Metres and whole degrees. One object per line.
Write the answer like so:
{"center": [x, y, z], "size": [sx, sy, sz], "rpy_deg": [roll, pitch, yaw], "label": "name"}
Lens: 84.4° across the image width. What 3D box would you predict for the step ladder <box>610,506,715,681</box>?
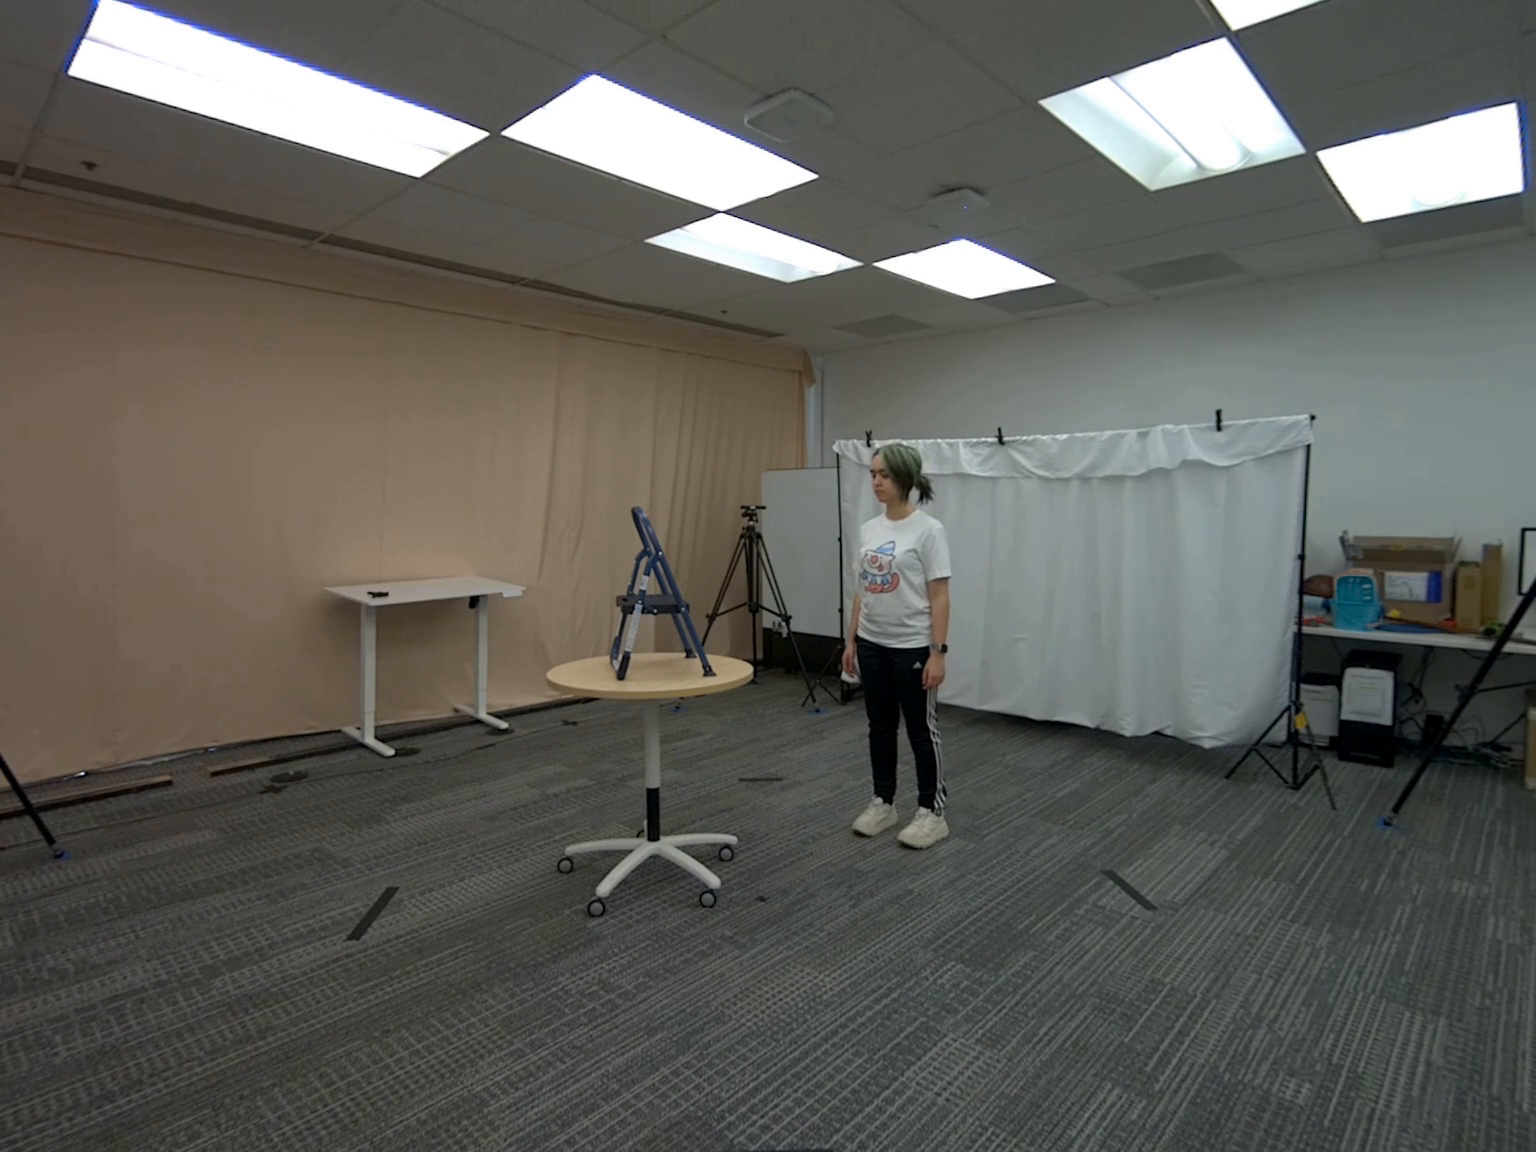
{"center": [-0.419, 0.047, 3.155], "size": [0.344, 0.605, 0.437], "rpy_deg": [-1, 3, -14], "label": "step ladder"}
